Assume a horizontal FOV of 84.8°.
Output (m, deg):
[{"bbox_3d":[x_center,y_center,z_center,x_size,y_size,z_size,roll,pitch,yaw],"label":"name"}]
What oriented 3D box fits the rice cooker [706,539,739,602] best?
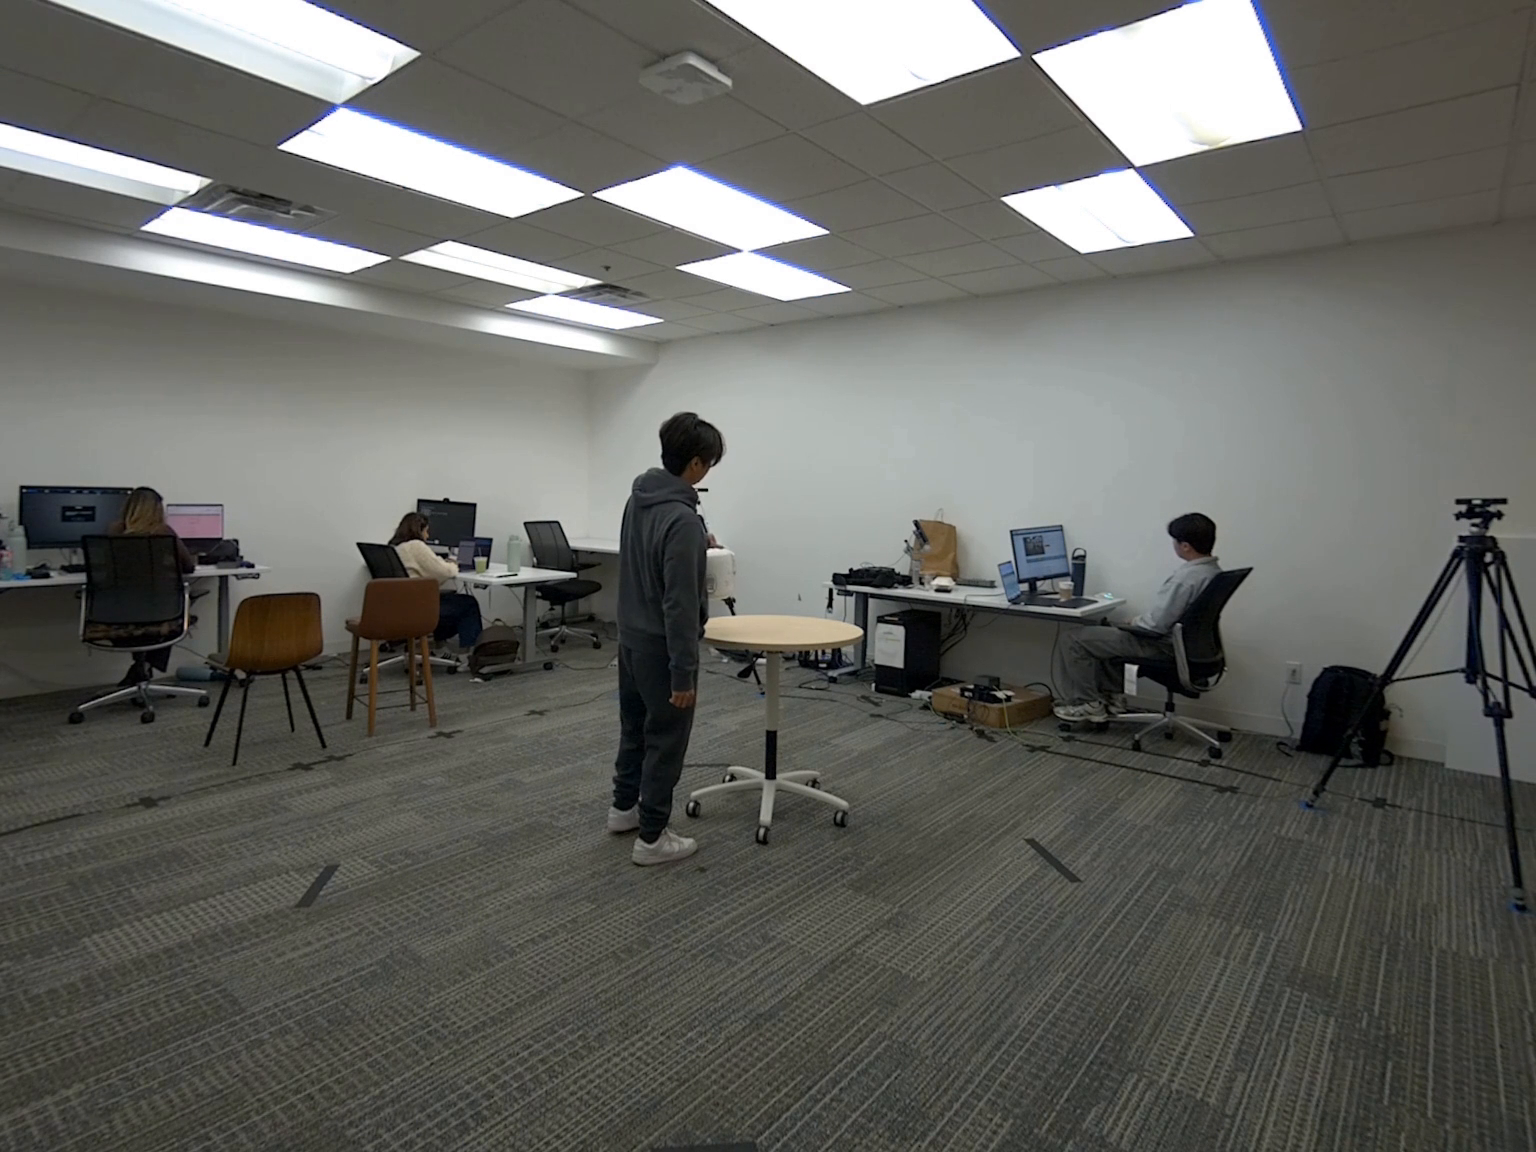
[{"bbox_3d":[-0.250,-0.026,3.605,0.221,0.232,0.218,-5,5,0],"label":"rice cooker"}]
